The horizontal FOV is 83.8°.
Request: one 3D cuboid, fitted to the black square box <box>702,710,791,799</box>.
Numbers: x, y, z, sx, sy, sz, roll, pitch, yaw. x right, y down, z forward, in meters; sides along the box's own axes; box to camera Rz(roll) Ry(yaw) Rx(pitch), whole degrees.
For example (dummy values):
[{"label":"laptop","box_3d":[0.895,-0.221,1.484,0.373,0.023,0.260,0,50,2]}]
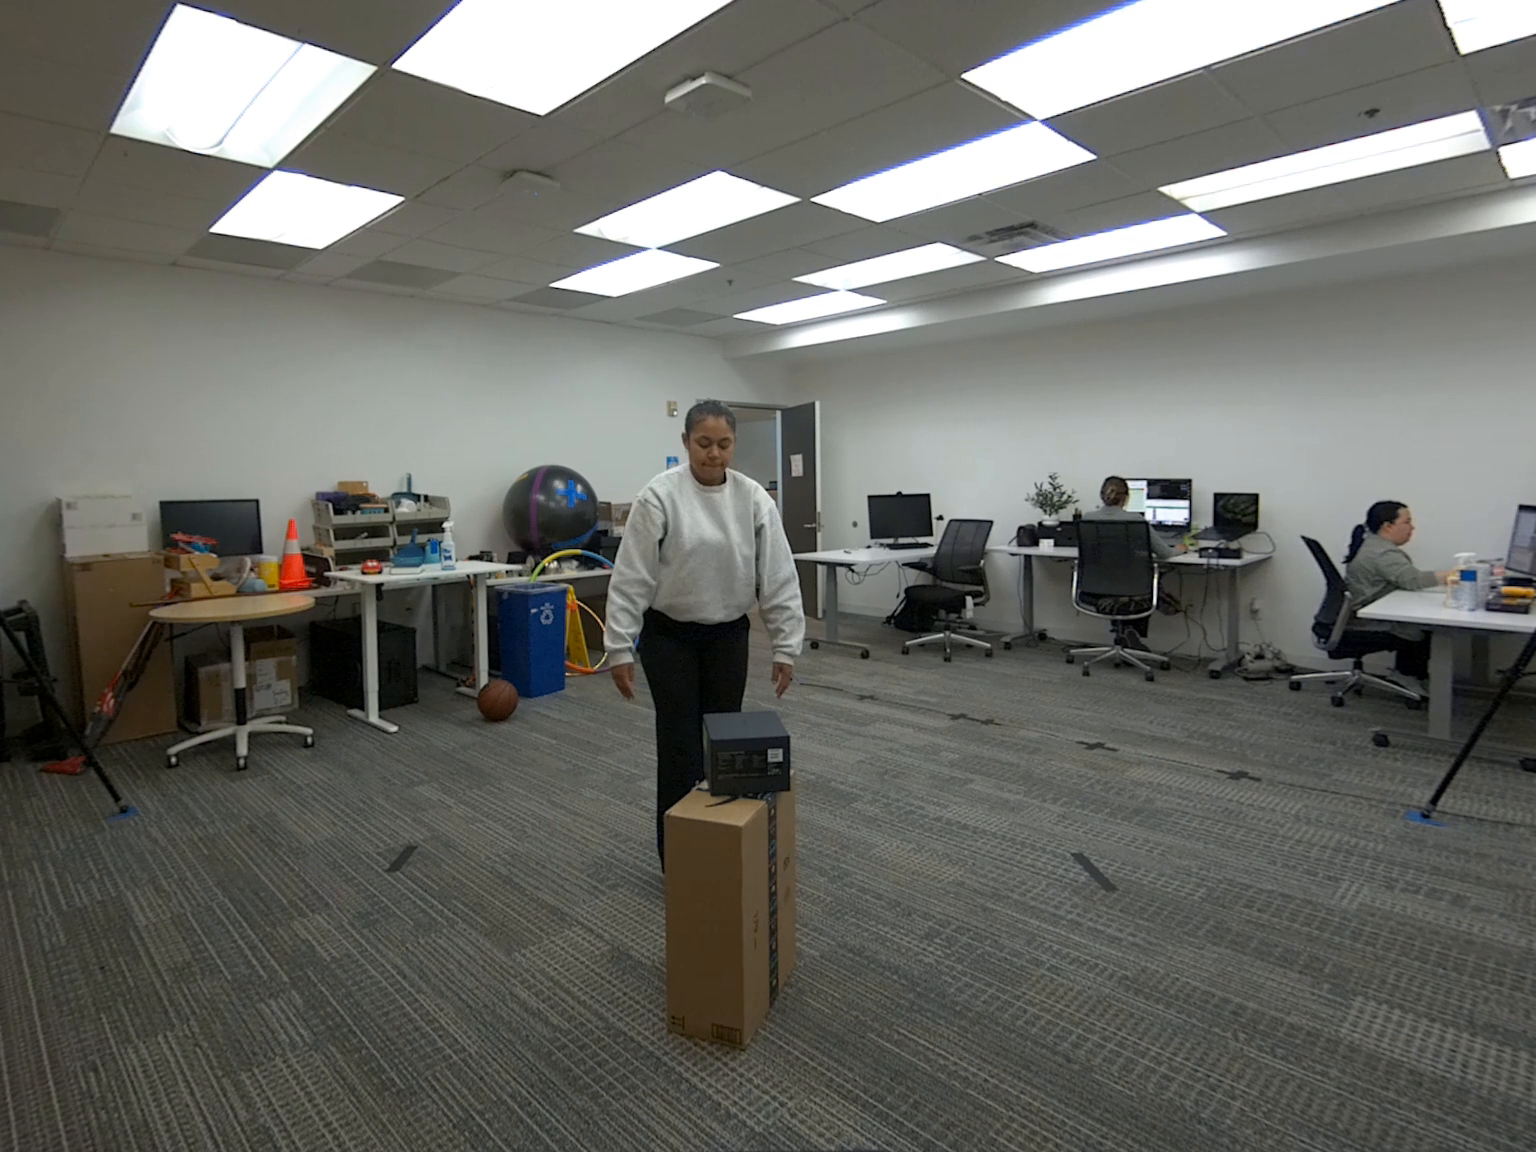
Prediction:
[{"label":"black square box","box_3d":[-0.069,0.487,2.366,0.215,0.155,0.231,-2,8,-9]}]
